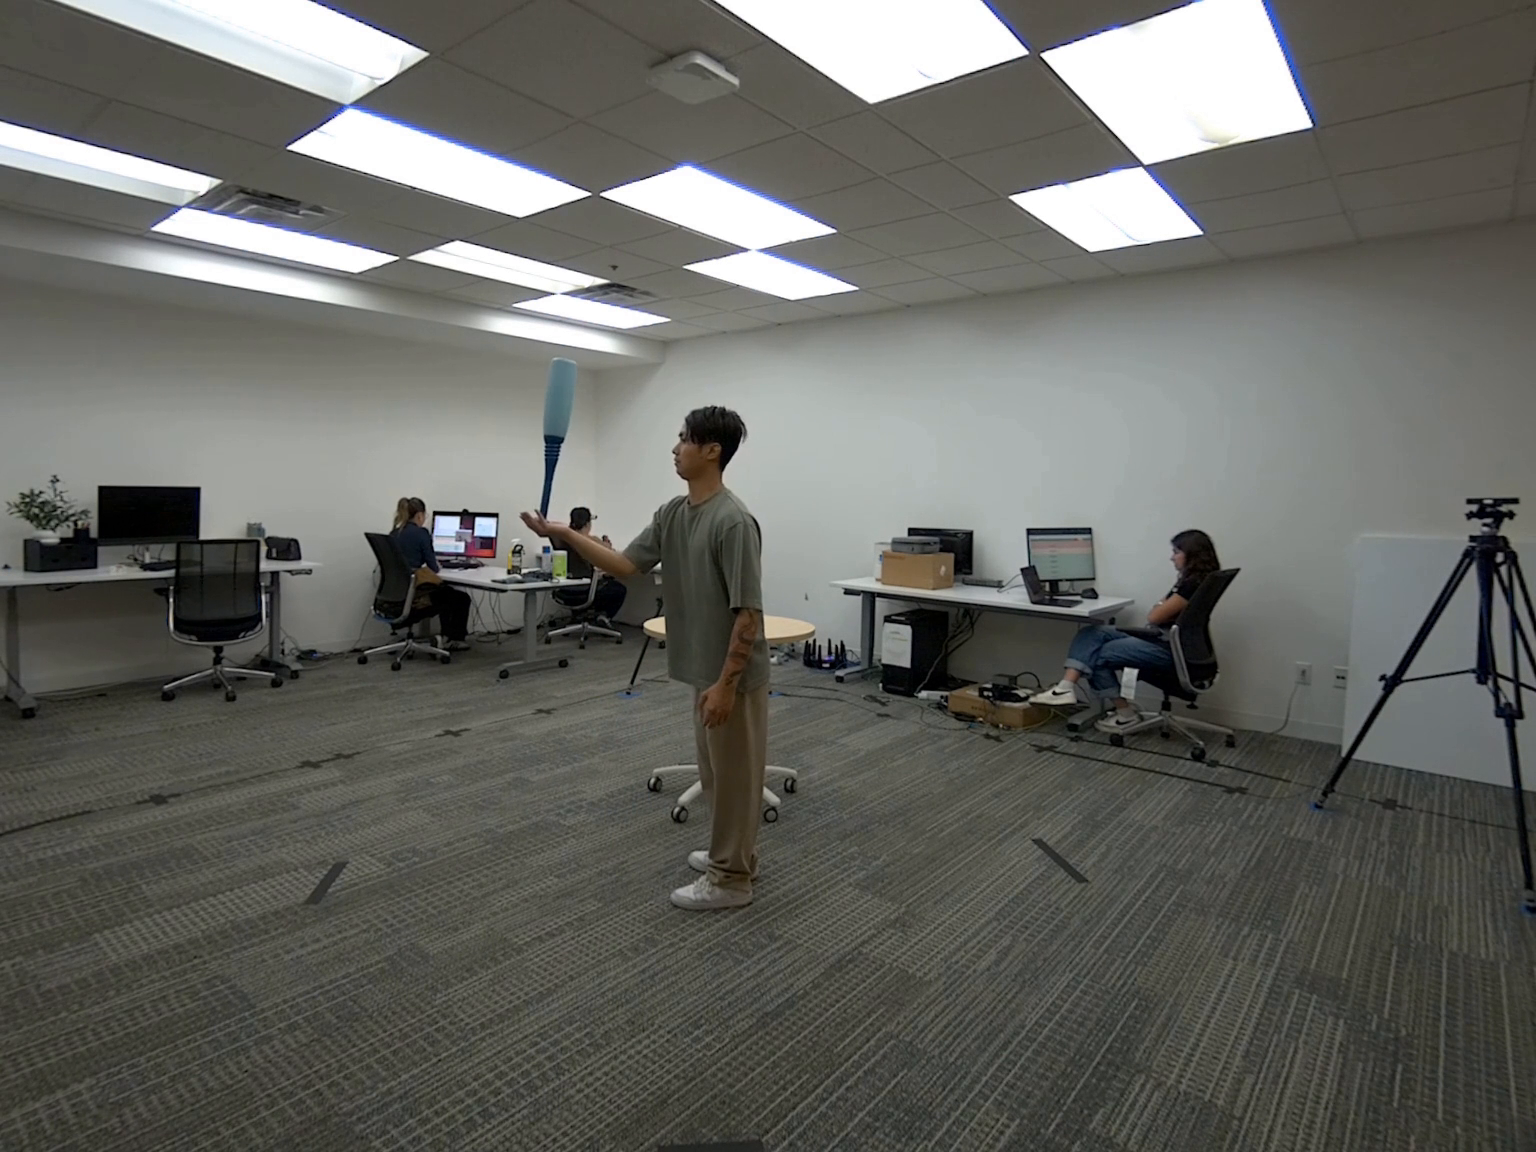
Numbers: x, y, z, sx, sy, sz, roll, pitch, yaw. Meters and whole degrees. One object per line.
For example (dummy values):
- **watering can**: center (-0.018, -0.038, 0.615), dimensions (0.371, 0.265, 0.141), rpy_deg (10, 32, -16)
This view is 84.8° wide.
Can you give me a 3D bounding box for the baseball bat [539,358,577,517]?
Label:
- **baseball bat**: center (-0.693, -0.432, 2.728), dimensions (0.089, 0.544, 0.089), rpy_deg (7, -3, -2)
